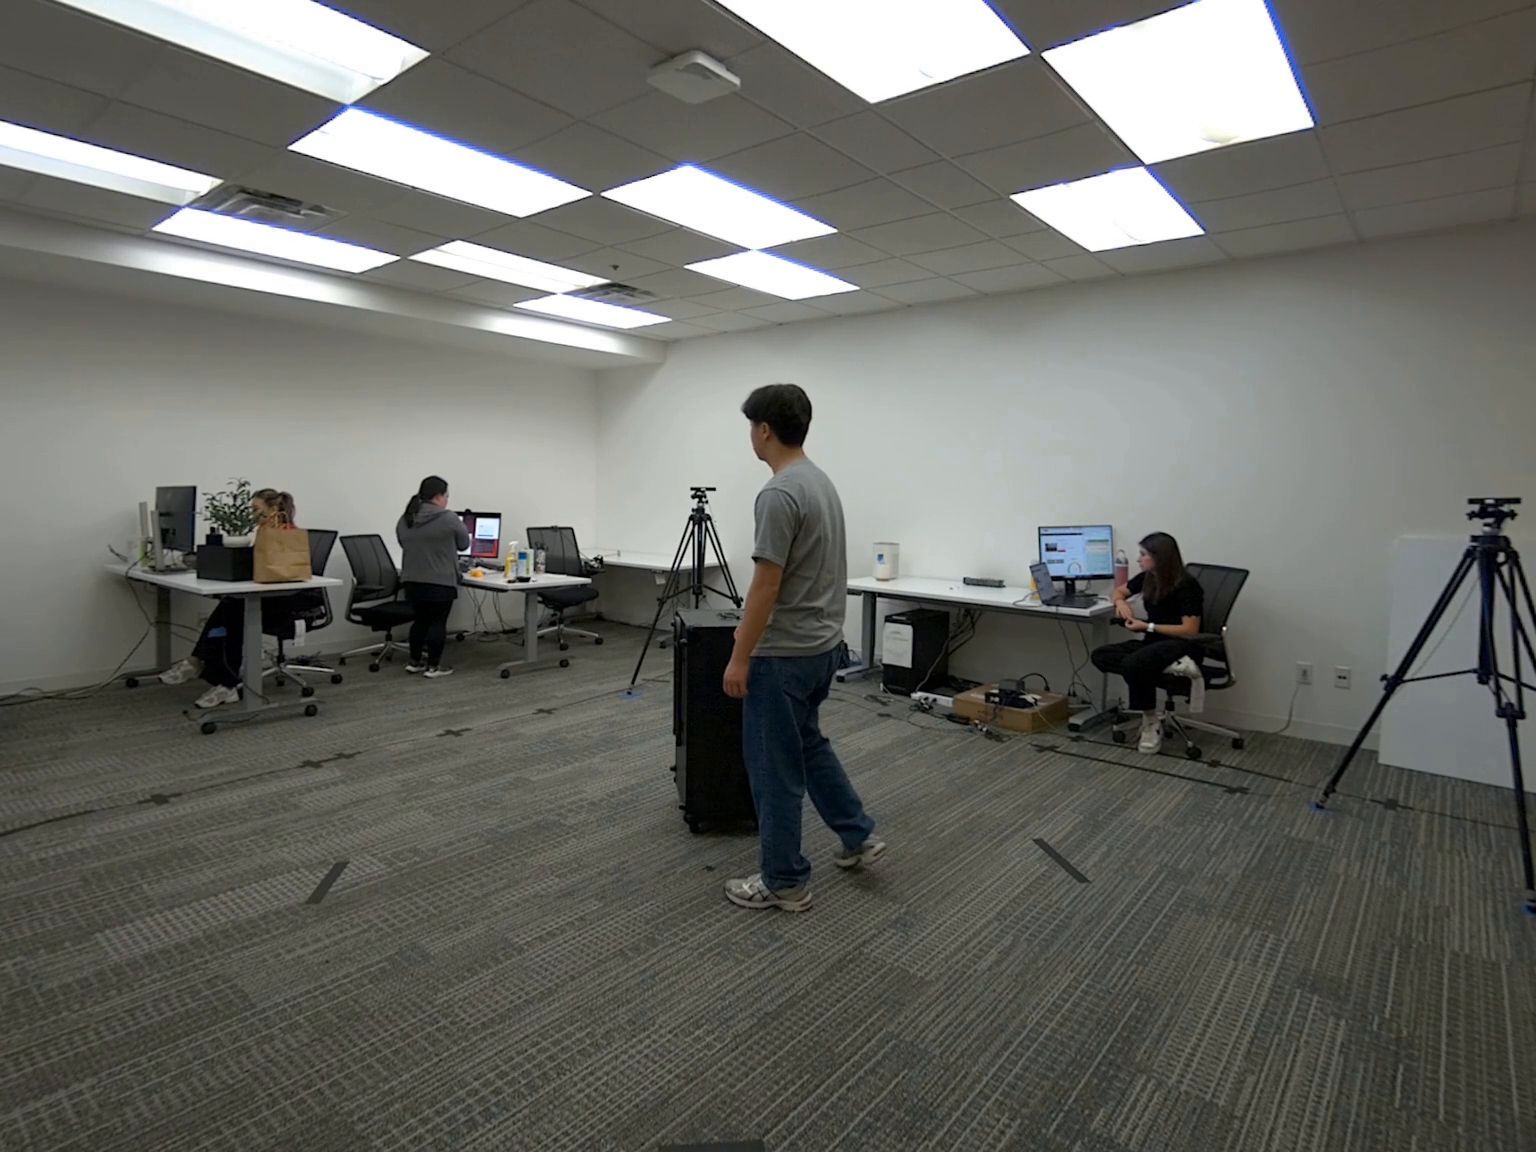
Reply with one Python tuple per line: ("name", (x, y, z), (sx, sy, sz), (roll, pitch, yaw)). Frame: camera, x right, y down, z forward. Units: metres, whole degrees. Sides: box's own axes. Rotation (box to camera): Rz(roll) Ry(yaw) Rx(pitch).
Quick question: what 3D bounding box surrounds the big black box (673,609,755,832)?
("big black box", (-0.216, 0.595, 3.588), (0.393, 0.859, 0.528), (-1, 4, -9))
